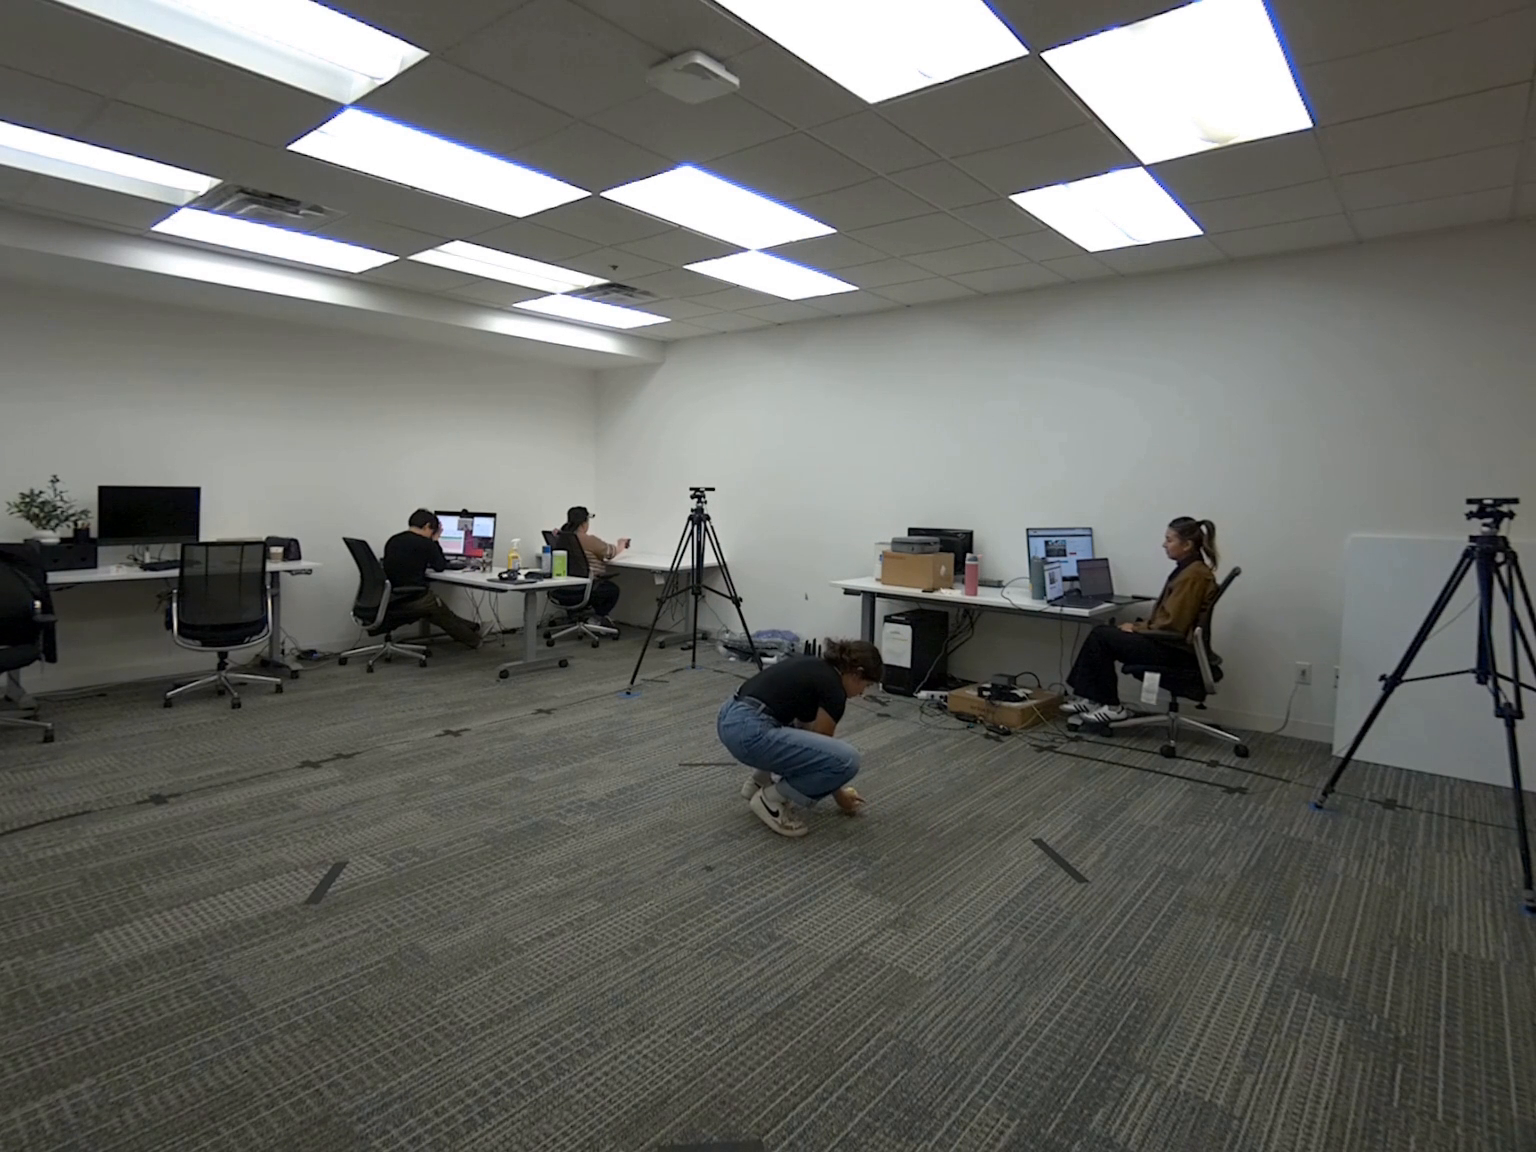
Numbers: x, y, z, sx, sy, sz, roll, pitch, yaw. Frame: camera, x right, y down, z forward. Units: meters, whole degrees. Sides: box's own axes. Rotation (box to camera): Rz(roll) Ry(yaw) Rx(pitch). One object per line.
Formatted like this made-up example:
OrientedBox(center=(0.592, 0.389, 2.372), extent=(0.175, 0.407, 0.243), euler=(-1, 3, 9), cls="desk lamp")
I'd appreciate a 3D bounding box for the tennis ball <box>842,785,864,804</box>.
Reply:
OrientedBox(center=(0.346, 0.948, 3.679), extent=(0.066, 0.066, 0.067), euler=(1, 4, -2), cls="tennis ball")
